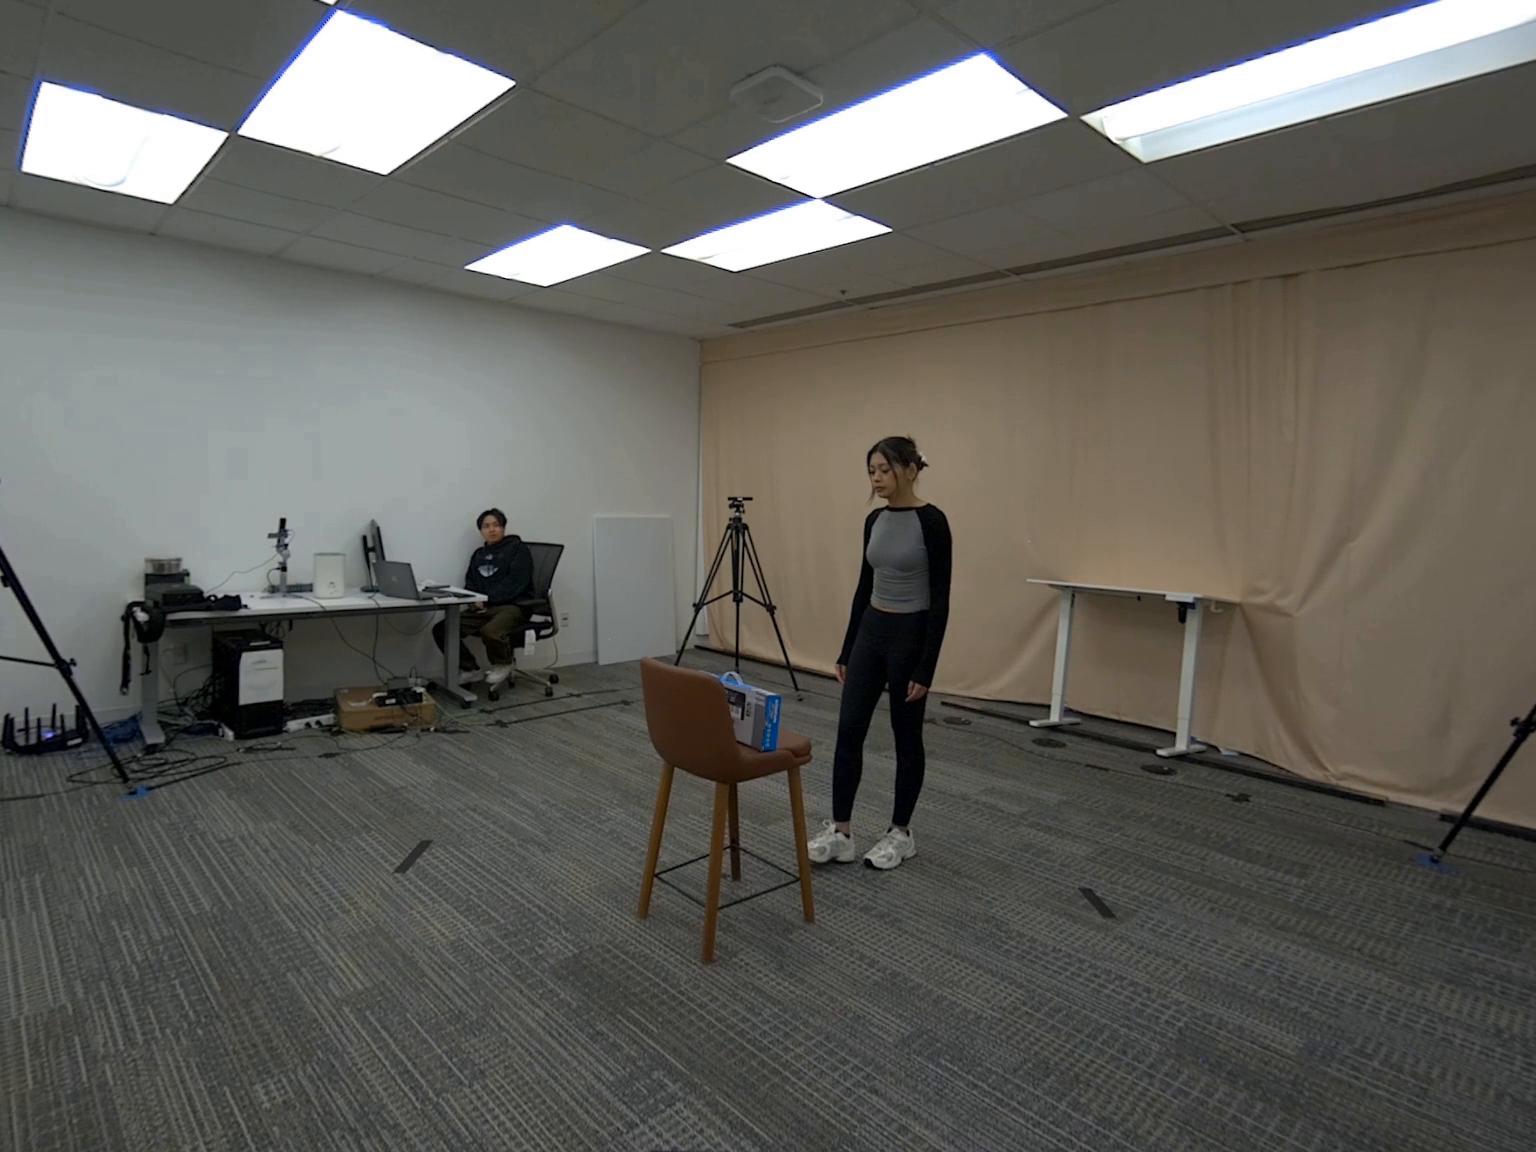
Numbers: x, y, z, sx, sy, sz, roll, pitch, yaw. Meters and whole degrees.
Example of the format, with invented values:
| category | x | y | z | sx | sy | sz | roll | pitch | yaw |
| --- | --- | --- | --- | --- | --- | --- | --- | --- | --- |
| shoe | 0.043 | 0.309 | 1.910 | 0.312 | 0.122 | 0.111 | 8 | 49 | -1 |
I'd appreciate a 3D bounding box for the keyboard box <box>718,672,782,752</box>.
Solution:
| category | x | y | z | sx | sy | sz | roll | pitch | yaw |
| --- | --- | --- | --- | --- | --- | --- | --- | --- | --- |
| keyboard box | -0.132 | 0.438 | 2.772 | 0.057 | 0.176 | 0.448 | 5 | 2 | -39 |
